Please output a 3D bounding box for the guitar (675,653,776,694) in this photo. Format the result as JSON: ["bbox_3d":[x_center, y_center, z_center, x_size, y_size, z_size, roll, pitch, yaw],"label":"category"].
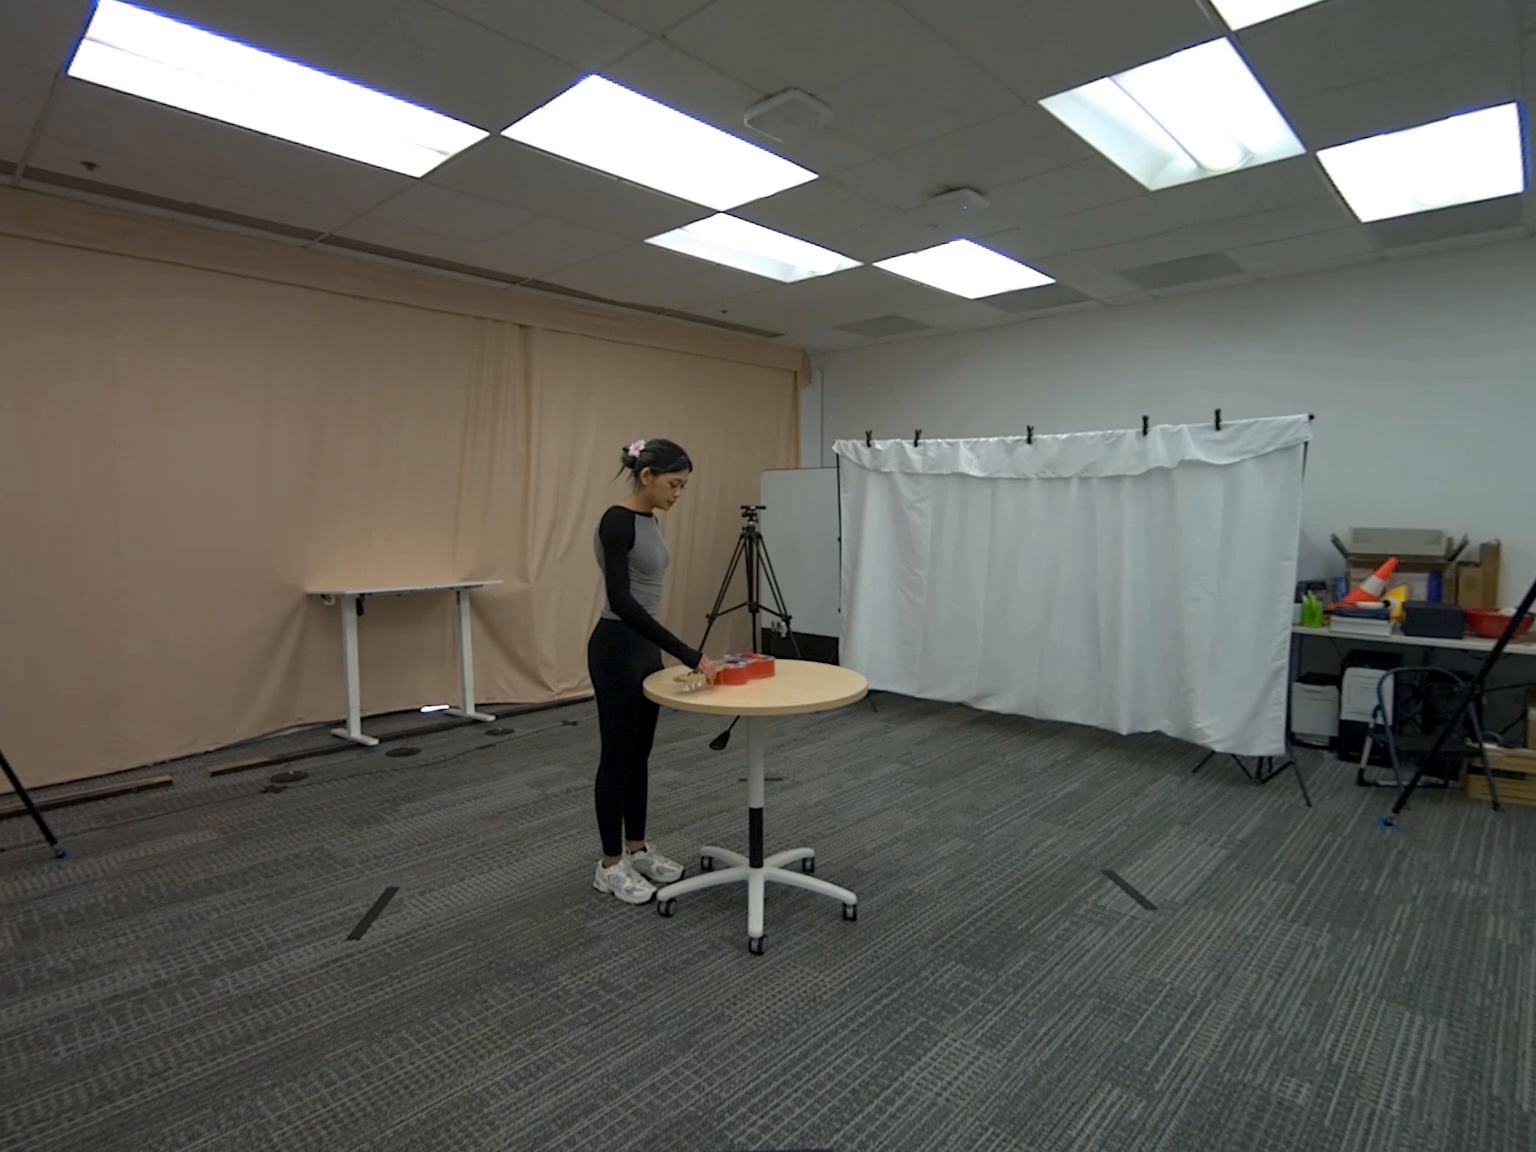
[{"bbox_3d":[-0.176,0.331,2.863,0.199,0.070,0.483,3,6,39],"label":"guitar"}]
